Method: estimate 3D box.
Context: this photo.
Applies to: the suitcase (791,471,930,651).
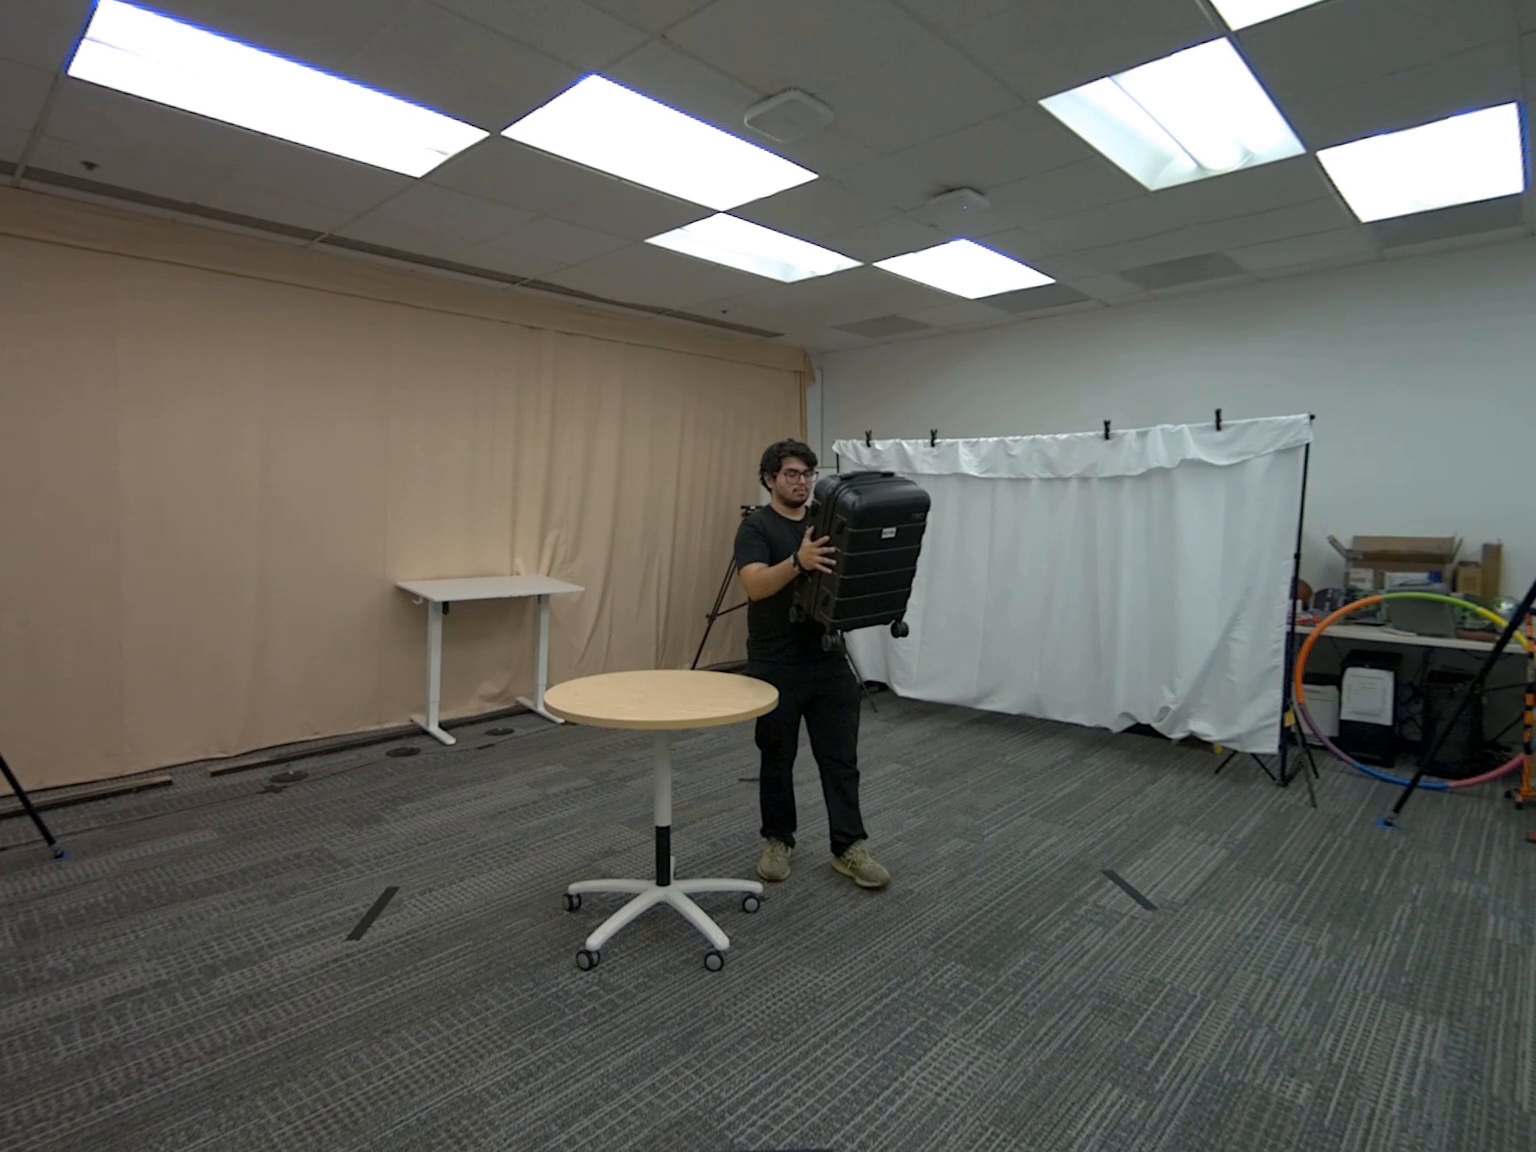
[{"bbox_3d":[0.319,-0.073,2.819,0.366,0.544,0.257,-6,28,-30],"label":"suitcase"}]
